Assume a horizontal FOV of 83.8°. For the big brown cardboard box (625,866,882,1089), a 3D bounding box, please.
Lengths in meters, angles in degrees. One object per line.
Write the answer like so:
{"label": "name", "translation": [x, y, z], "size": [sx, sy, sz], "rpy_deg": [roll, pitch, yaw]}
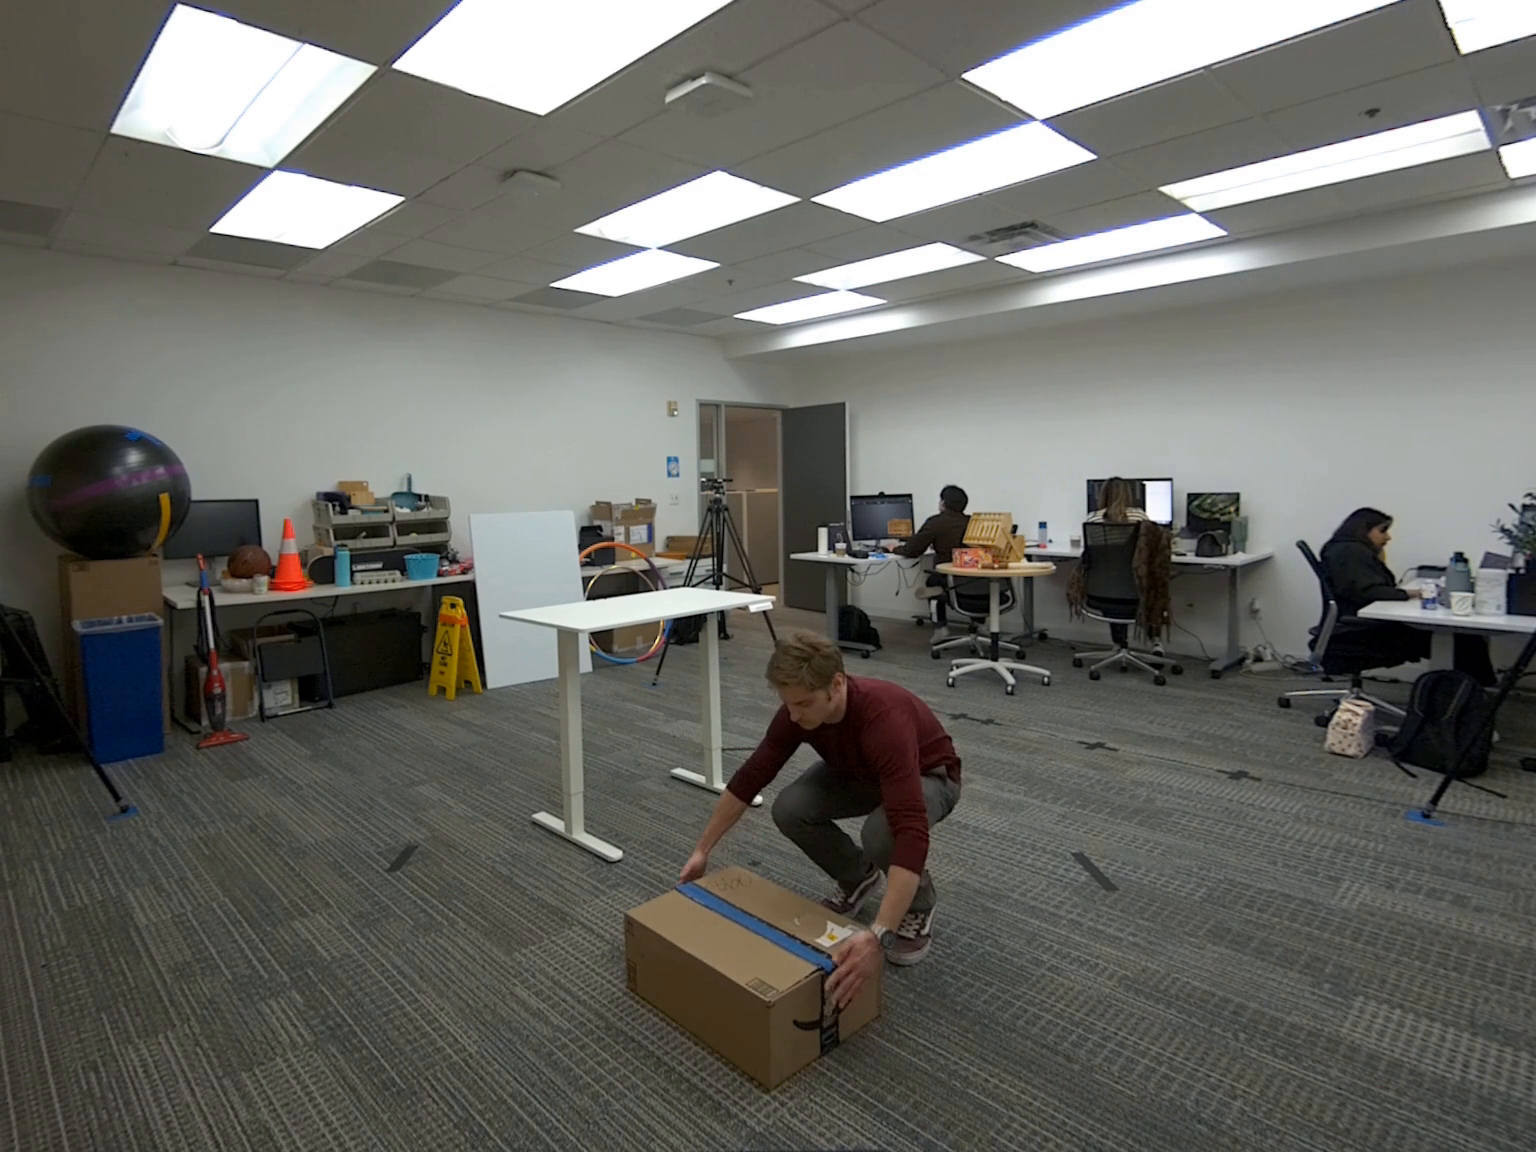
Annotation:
{"label": "big brown cardboard box", "translation": [-0.040, 1.033, 2.282], "size": [0.407, 0.232, 0.607], "rpy_deg": [-7, 8, -43]}
